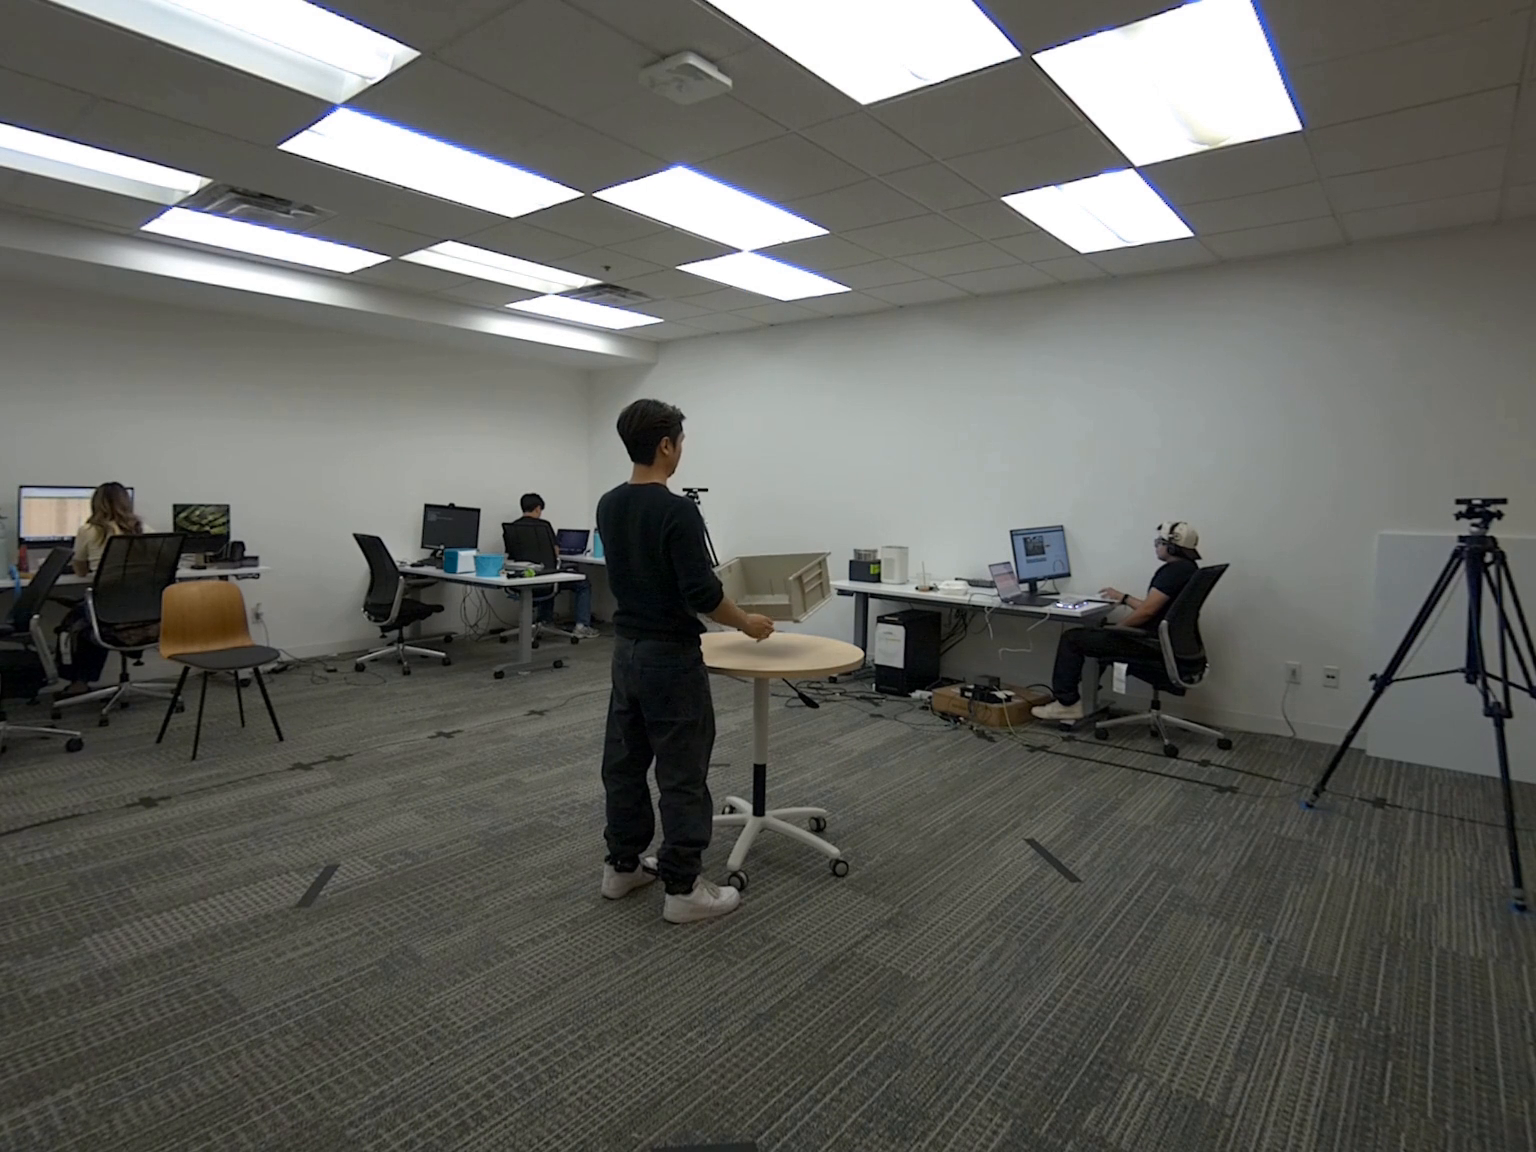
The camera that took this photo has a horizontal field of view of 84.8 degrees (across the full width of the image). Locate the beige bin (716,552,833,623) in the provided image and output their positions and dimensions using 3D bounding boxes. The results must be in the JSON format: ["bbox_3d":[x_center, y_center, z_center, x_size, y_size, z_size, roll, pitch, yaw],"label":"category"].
[{"bbox_3d":[-0.020,0.044,3.248,0.434,0.187,0.372,-3,13,31],"label":"beige bin"}]
